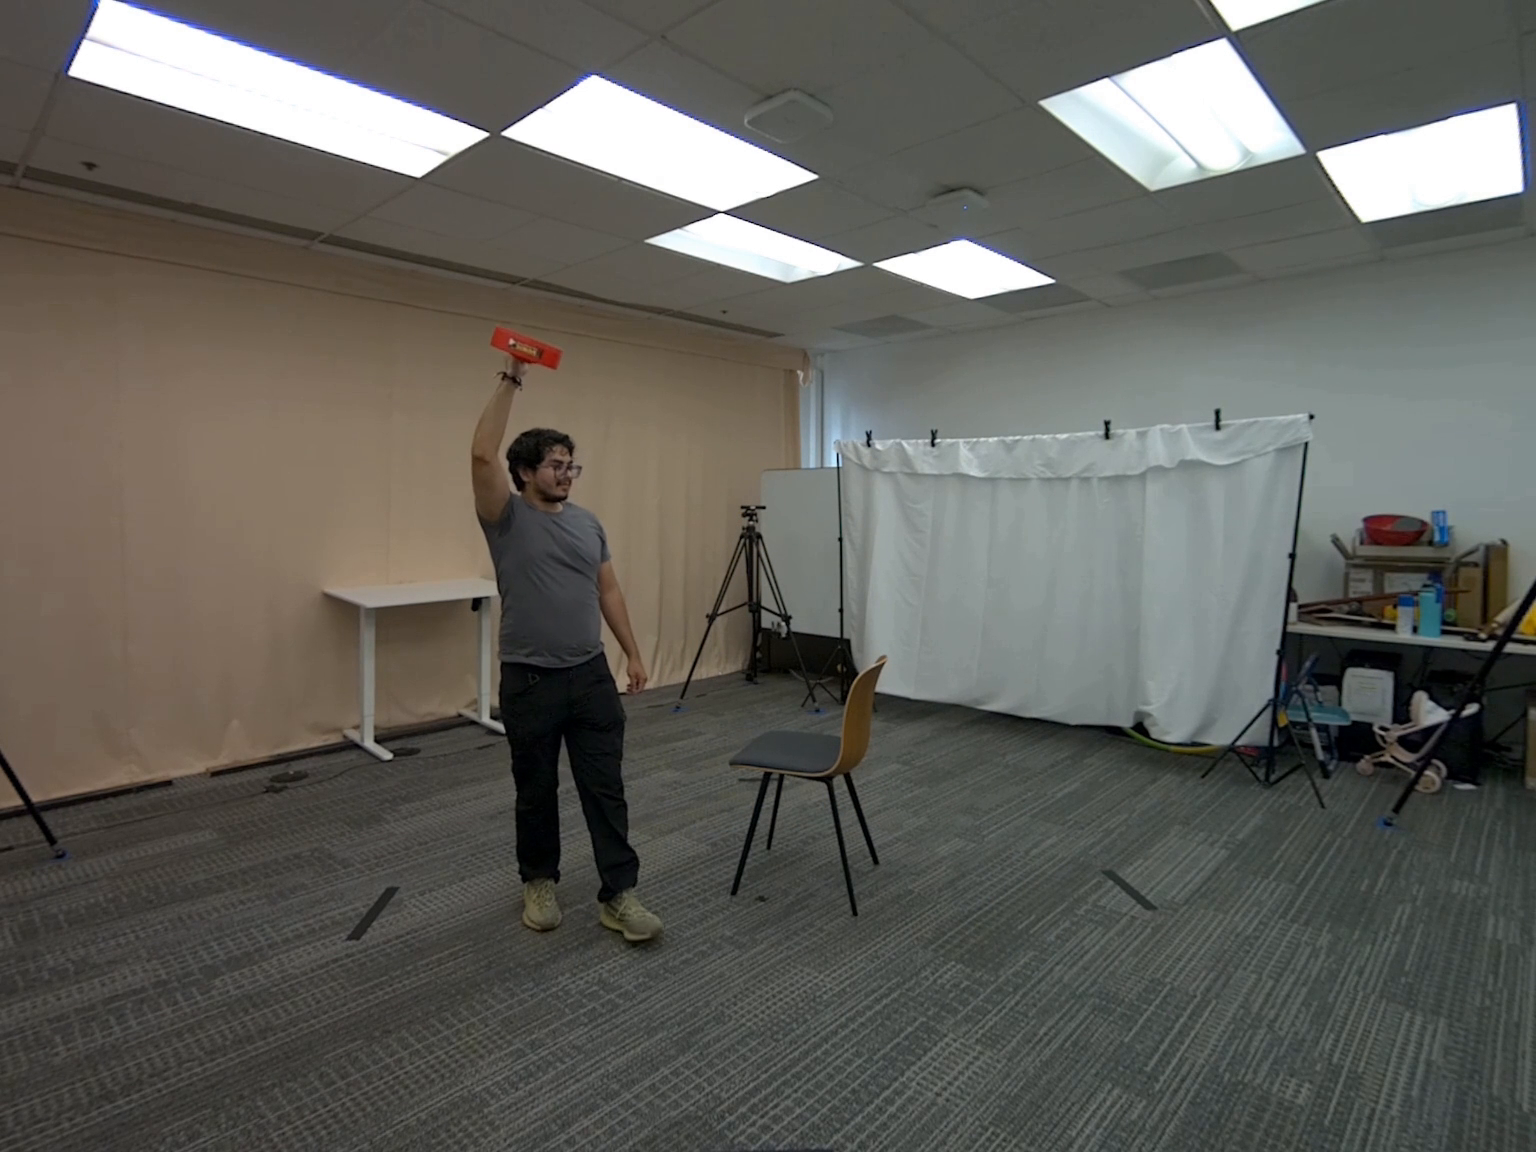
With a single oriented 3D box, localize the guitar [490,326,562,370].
[{"bbox_3d":[-0.748,-0.688,2.499,0.187,0.070,0.513,16,10,-28],"label":"guitar"}]
